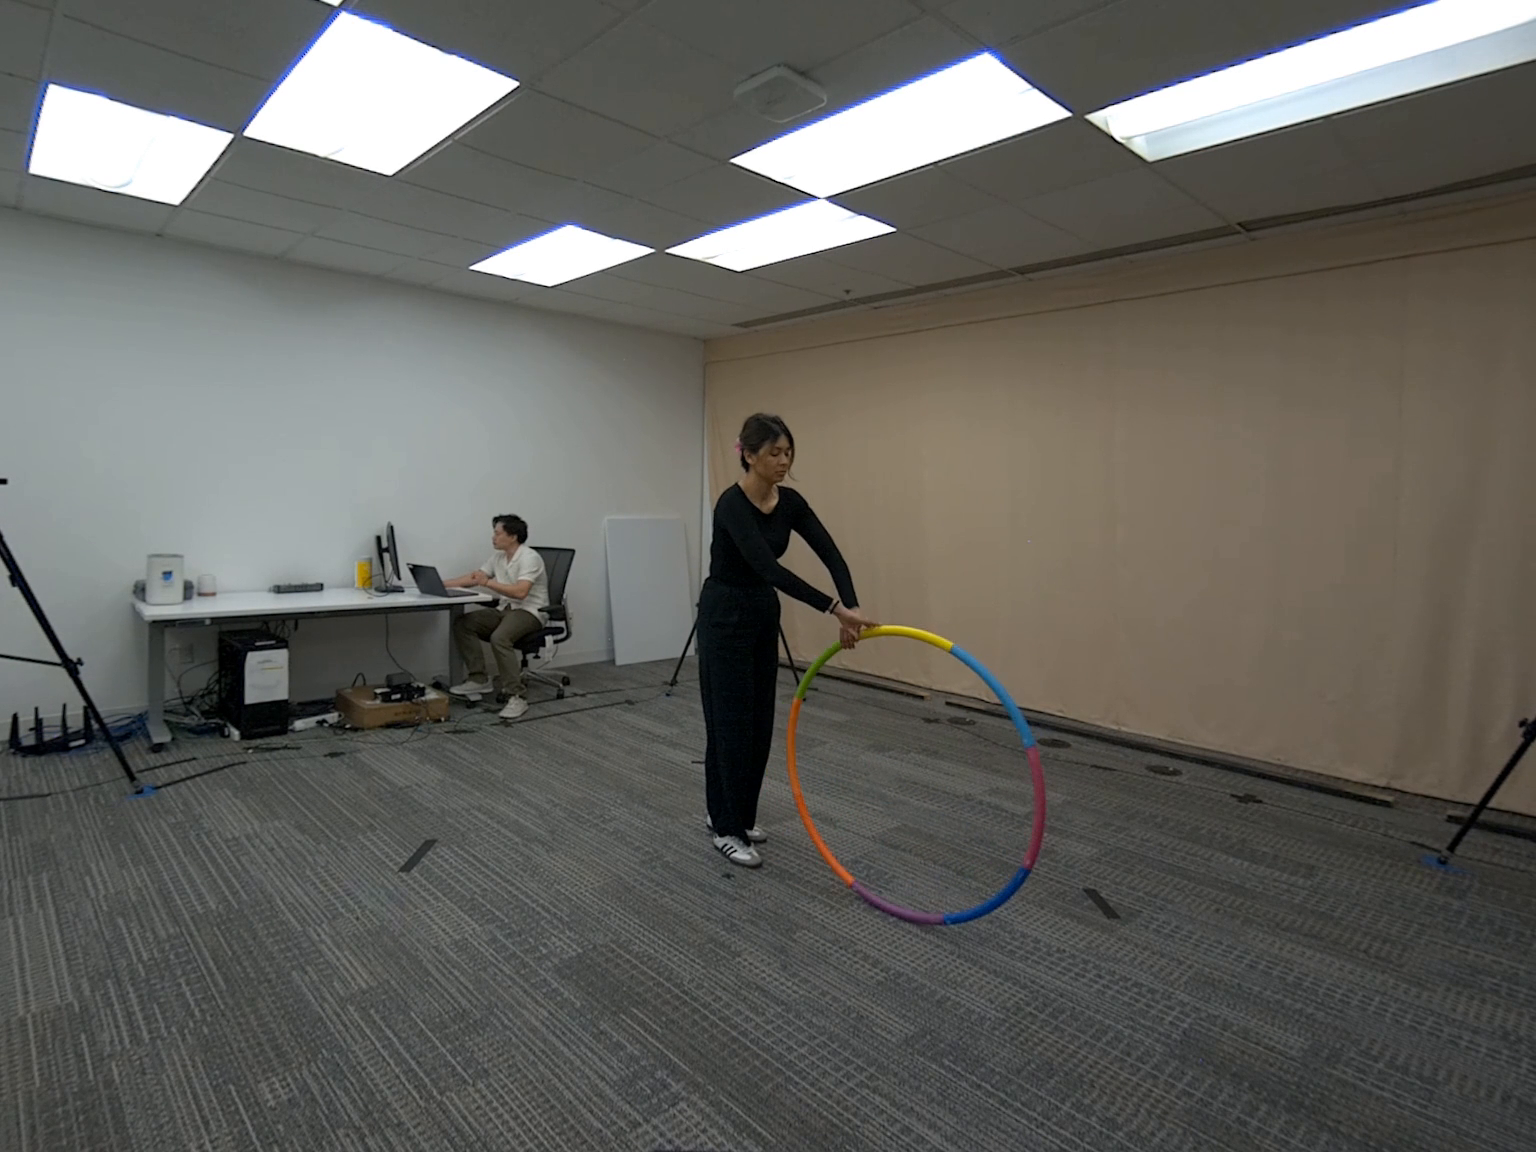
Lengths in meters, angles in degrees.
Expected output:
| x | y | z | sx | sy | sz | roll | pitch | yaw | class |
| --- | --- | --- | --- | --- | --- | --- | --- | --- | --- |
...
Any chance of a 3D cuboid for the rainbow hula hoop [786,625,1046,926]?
| x | y | z | sx | sy | sz | roll | pitch | yaw | class |
| --- | --- | --- | --- | --- | --- | --- | --- | --- | --- |
| 0.433 | 0.661 | 2.816 | 1.004 | 0.976 | 0.035 | 5 | 5 | 43 | rainbow hula hoop |
